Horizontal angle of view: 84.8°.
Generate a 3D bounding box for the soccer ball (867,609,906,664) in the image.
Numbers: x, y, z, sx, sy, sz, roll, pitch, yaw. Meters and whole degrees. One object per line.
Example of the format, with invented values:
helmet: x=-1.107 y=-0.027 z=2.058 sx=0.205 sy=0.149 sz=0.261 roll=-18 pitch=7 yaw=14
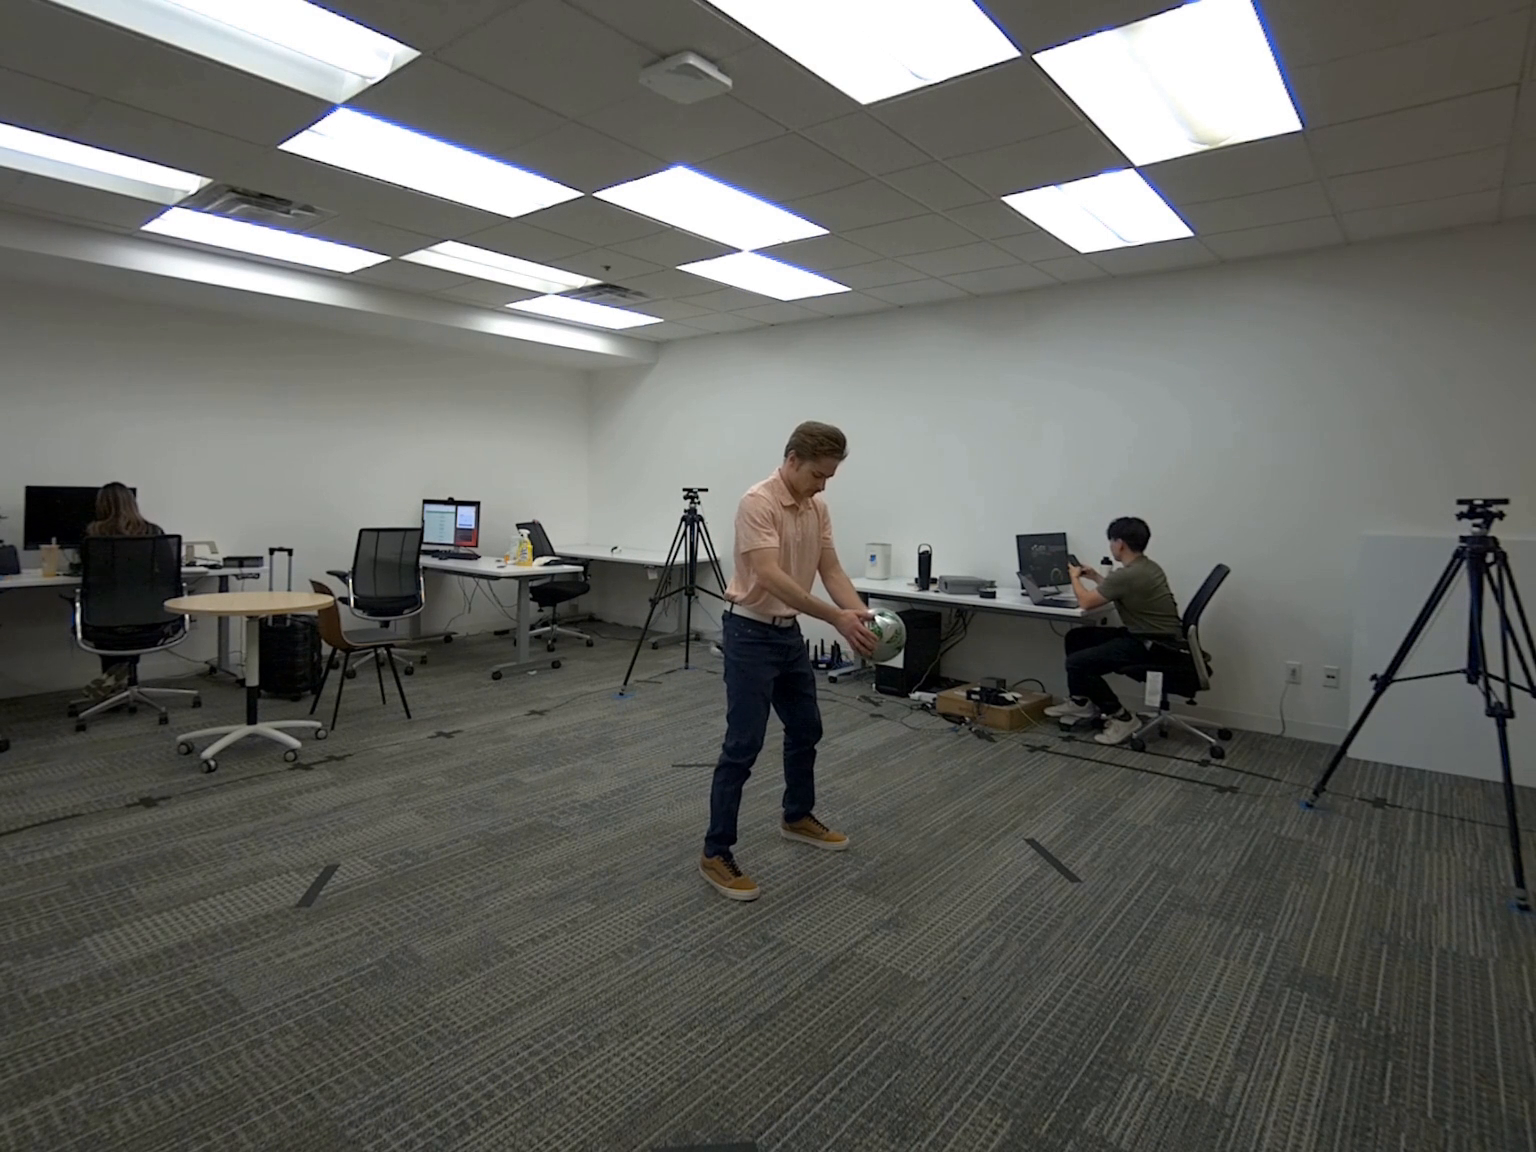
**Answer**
soccer ball: x=0.367 y=0.202 z=2.895 sx=0.187 sy=0.187 sz=0.188 roll=1 pitch=4 yaw=-2
